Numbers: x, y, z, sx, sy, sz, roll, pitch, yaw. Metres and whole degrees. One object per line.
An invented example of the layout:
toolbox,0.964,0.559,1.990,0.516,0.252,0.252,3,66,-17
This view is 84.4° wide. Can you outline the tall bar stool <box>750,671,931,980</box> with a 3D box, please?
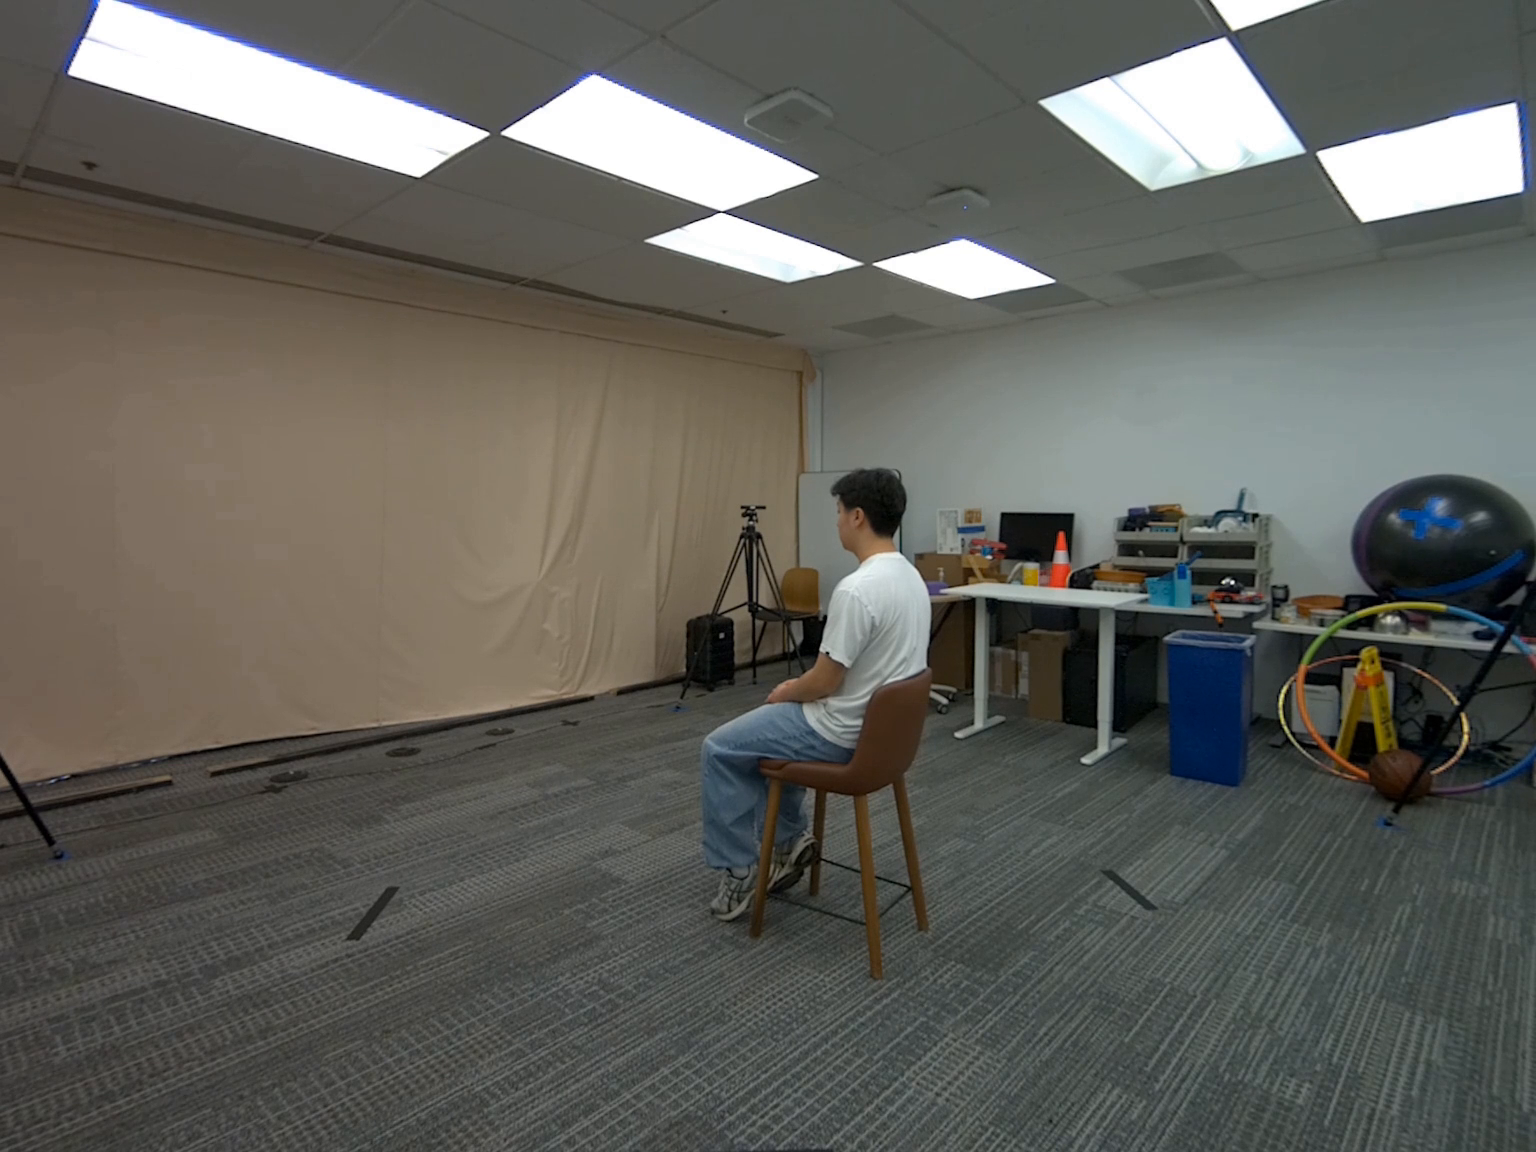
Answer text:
tall bar stool,0.255,0.731,2.713,0.482,0.886,0.444,6,7,34
